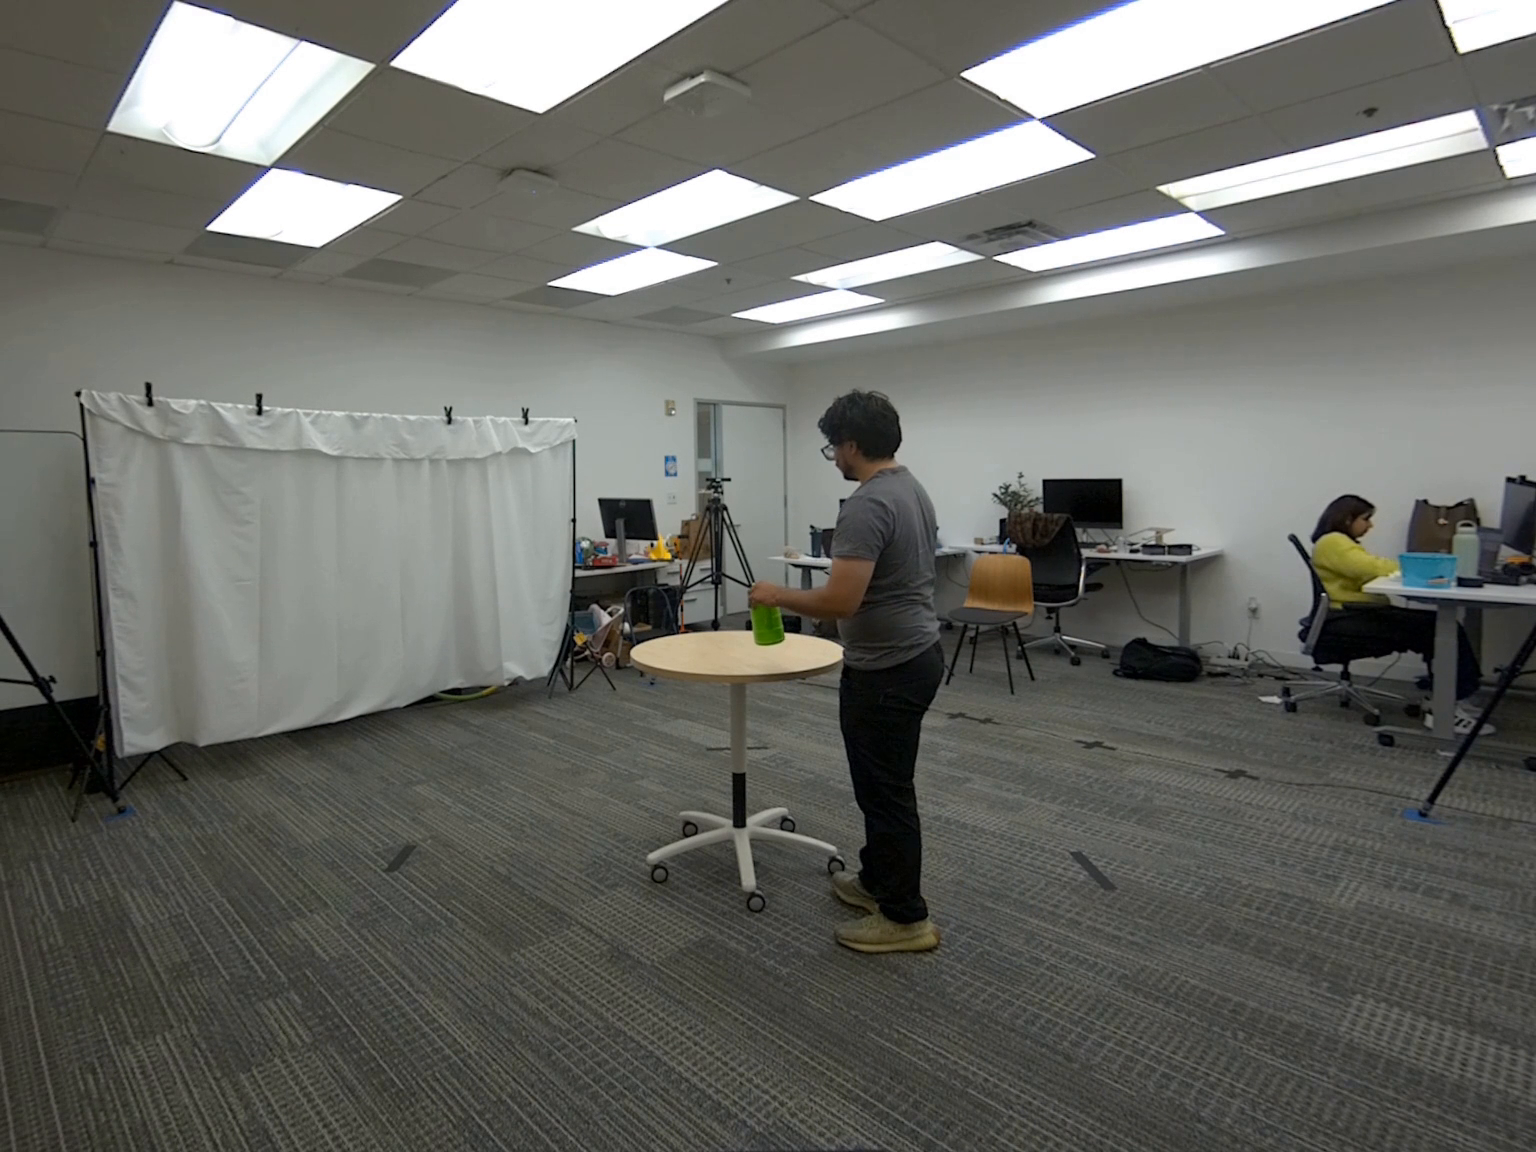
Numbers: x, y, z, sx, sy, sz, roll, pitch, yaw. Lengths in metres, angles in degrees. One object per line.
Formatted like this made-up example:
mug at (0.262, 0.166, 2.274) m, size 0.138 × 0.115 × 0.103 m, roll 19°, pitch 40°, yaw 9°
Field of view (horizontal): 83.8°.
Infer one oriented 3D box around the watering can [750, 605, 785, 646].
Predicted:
watering can at (0.010, 0.117, 2.681) m, size 0.099 × 0.176 × 0.277 m, roll -9°, pitch 6°, yaw 11°
